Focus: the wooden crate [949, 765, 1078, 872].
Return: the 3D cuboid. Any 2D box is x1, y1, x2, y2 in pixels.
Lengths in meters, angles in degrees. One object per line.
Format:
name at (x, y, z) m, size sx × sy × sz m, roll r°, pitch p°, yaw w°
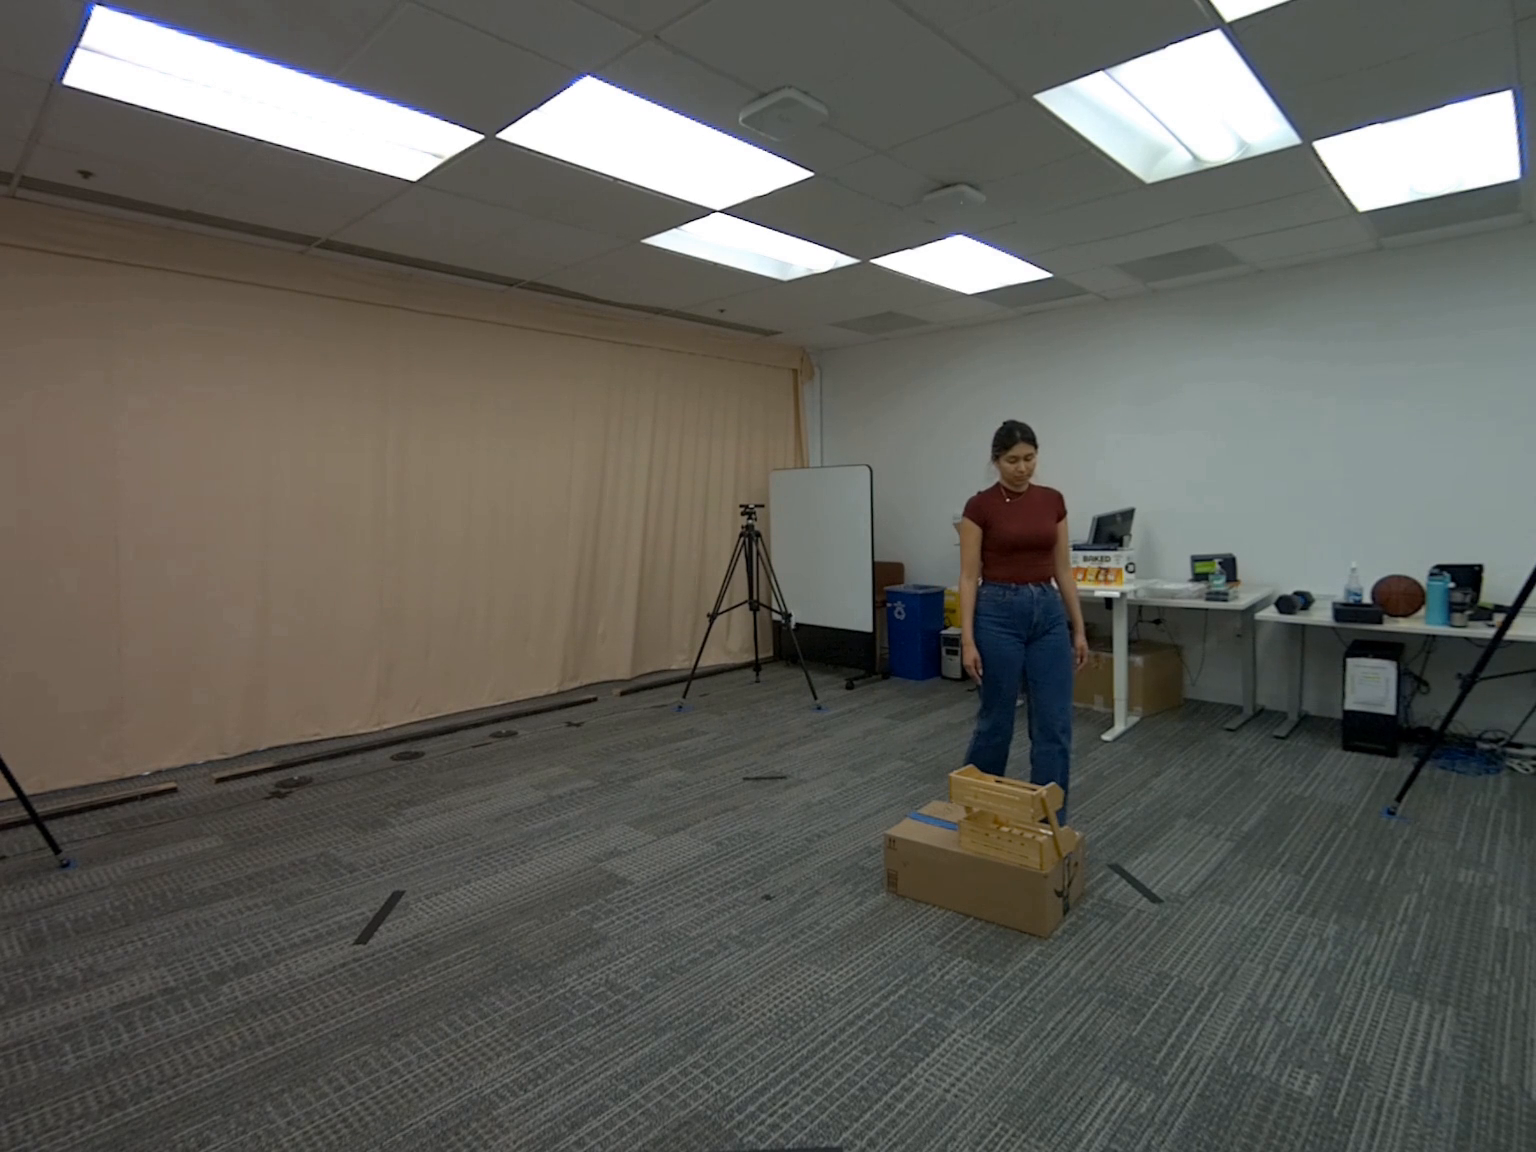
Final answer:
wooden crate at (0.831, 0.790, 2.834) m, size 0.335 × 0.273 × 0.293 m, roll 1°, pitch 5°, yaw 44°
